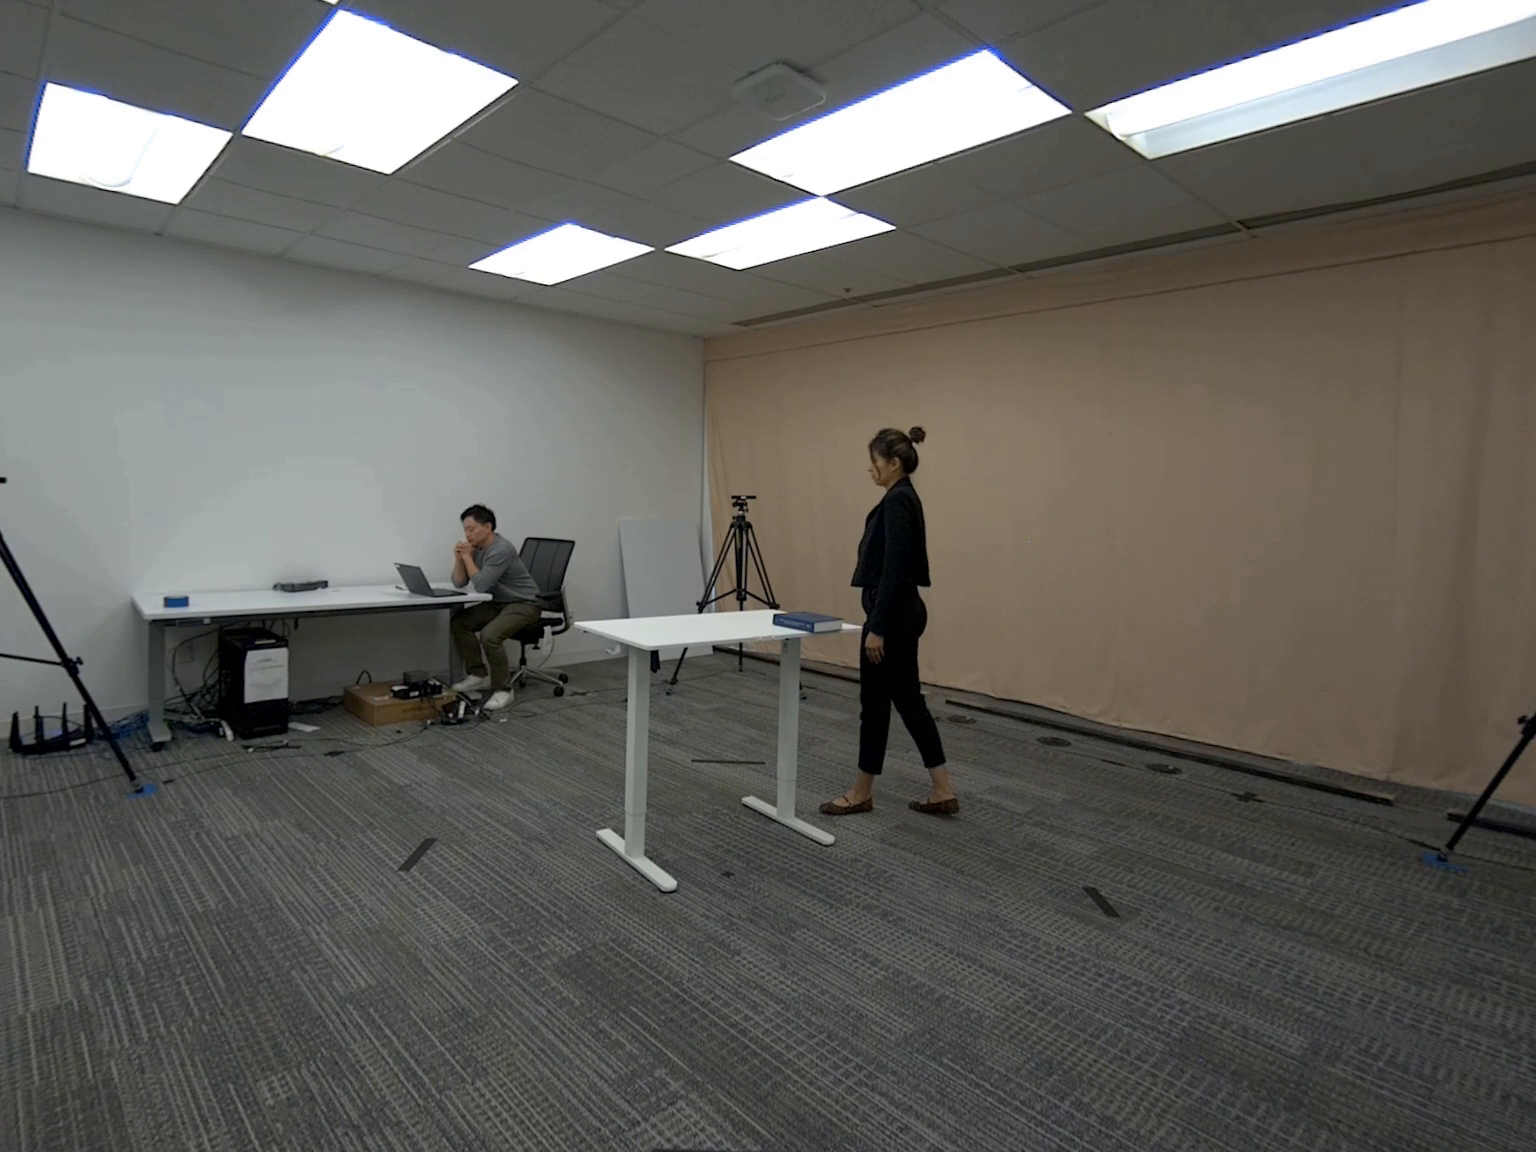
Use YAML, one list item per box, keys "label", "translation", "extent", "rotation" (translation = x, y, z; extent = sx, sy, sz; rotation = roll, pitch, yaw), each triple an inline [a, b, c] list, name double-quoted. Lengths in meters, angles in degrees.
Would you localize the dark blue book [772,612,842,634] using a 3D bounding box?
- label: "dark blue book"
  translation: [0.154, 0.183, 3.357]
  extent: [0.160, 0.045, 0.251]
  rotation: [-3, 7, -39]
